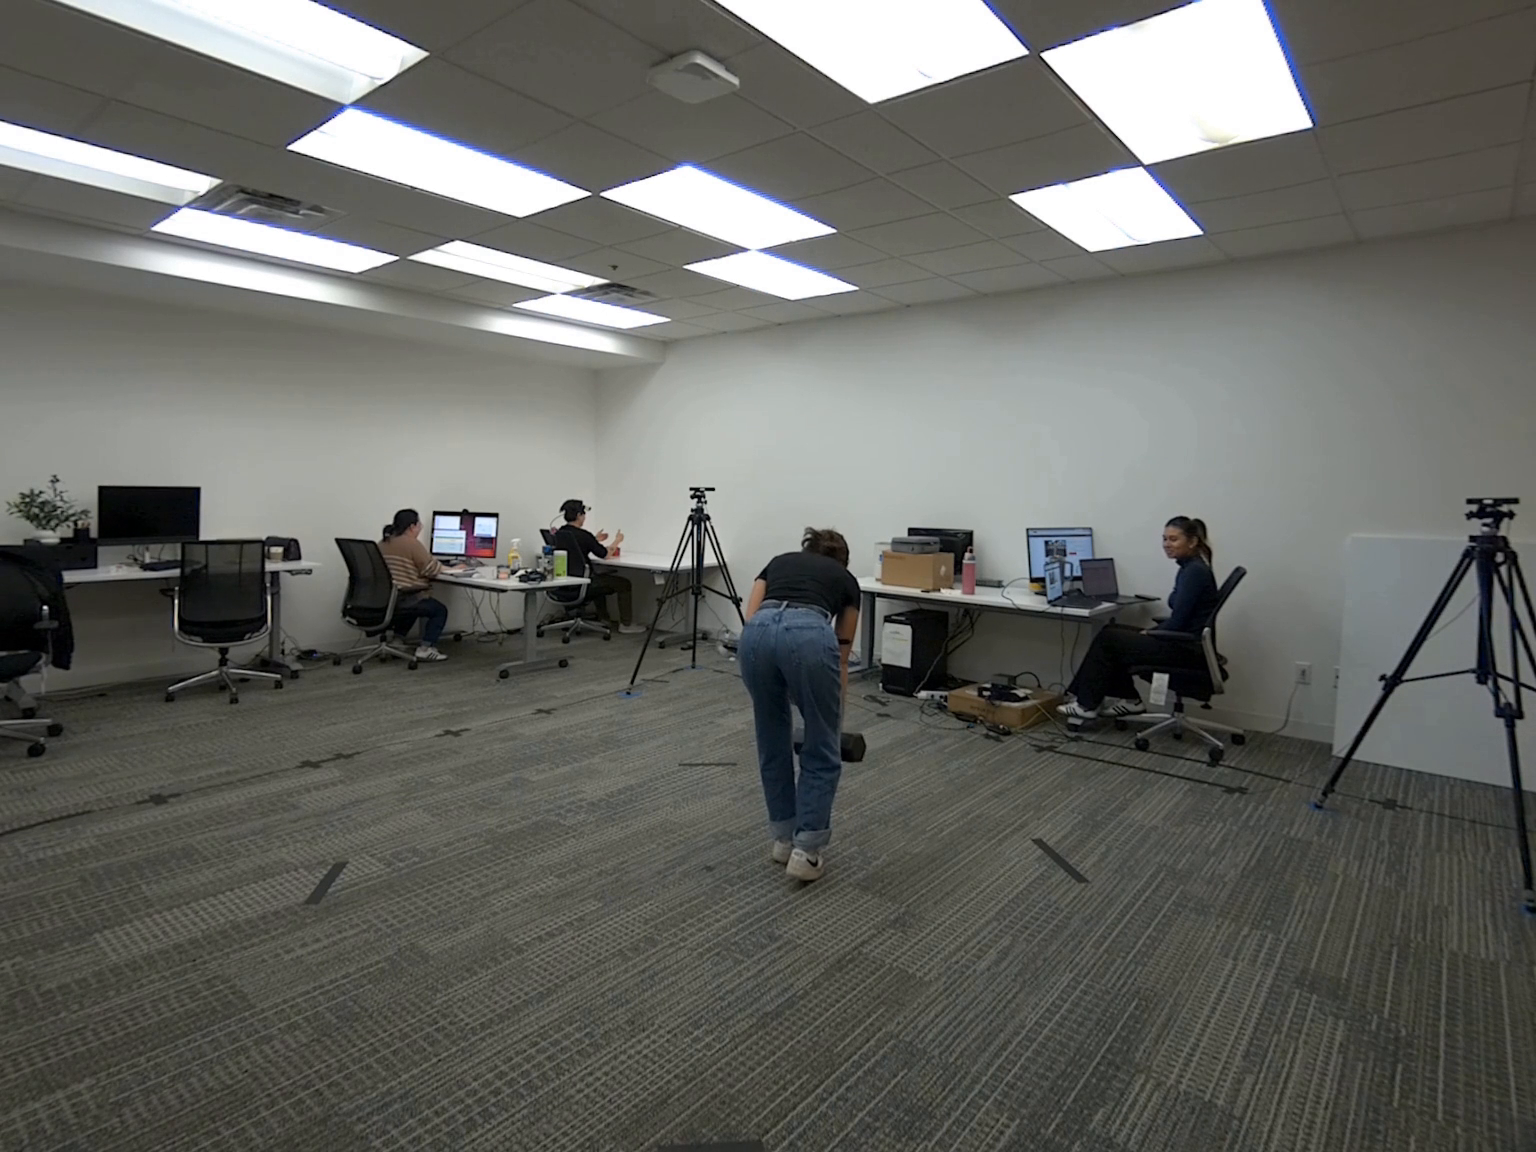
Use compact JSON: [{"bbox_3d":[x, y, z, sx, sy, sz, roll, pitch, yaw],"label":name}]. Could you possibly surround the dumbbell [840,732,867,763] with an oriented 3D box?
[{"bbox_3d":[0.221,0.647,3.287,0.302,0.124,0.104,-2,-38,41],"label":"dumbbell"}]
